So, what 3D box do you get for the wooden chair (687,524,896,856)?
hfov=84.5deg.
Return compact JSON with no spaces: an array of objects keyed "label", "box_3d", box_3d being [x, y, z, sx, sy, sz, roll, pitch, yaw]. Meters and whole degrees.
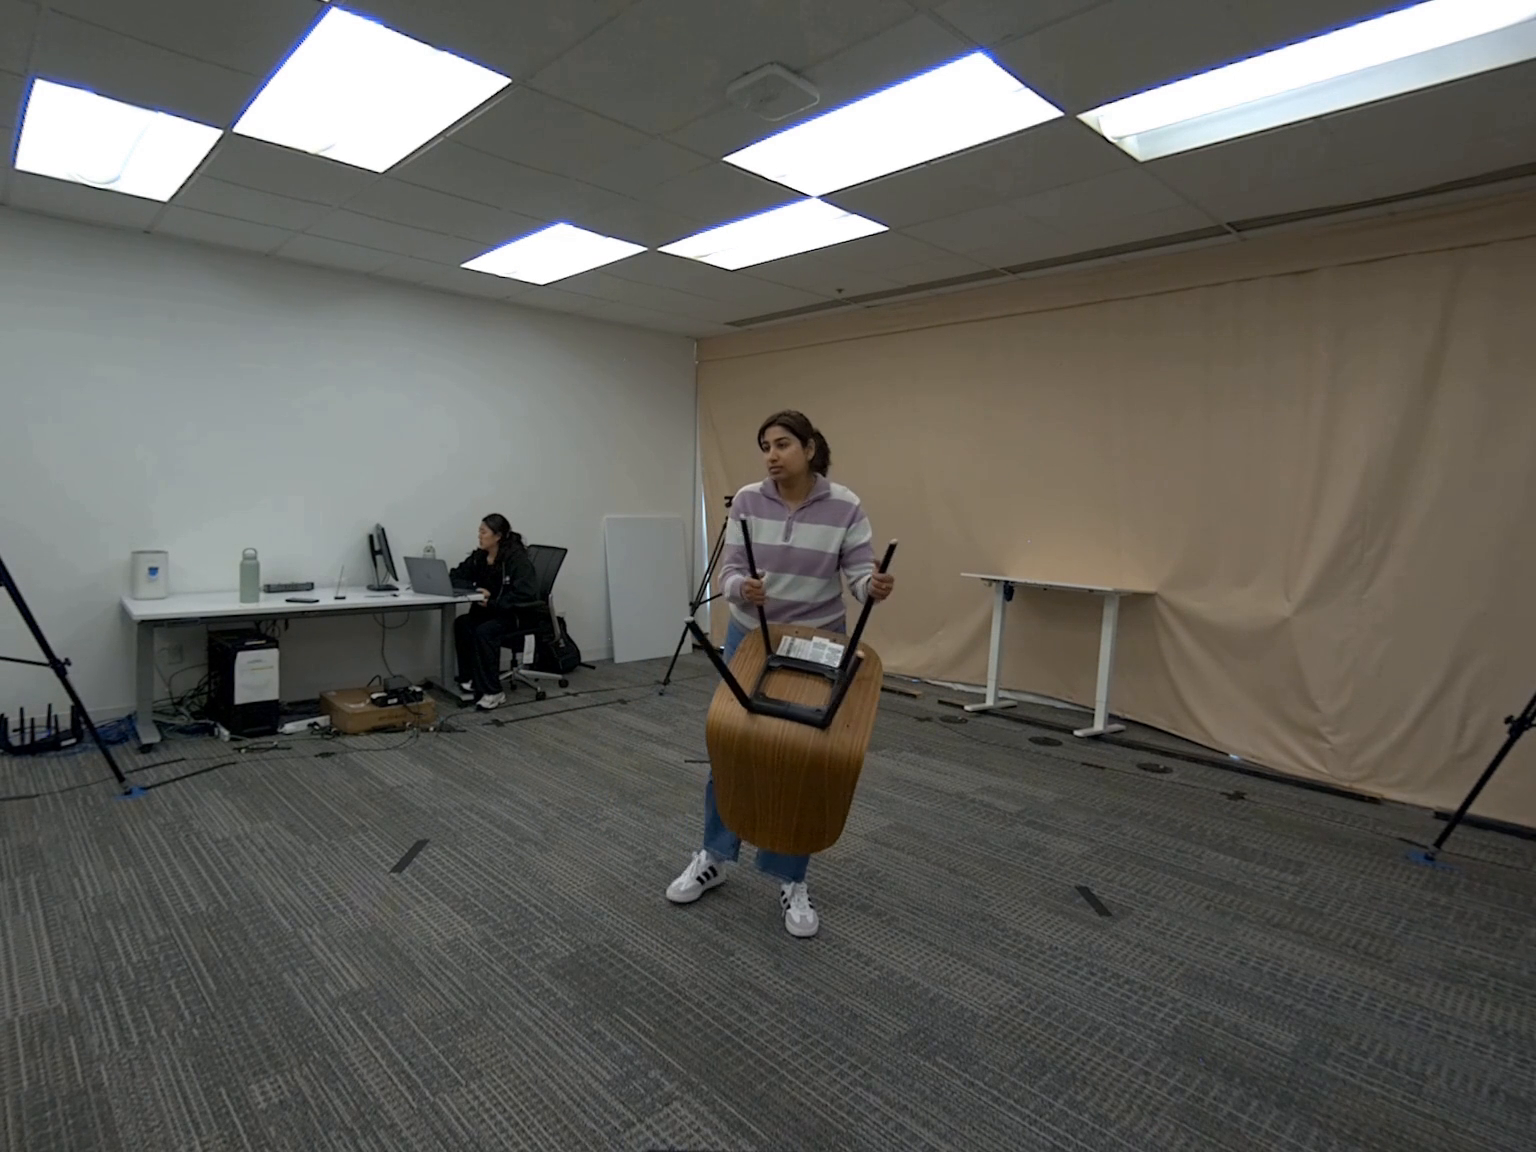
[{"label":"wooden chair","box_3d":[0.078,0.331,2.464,0.484,0.859,0.527,11,37,13]}]
